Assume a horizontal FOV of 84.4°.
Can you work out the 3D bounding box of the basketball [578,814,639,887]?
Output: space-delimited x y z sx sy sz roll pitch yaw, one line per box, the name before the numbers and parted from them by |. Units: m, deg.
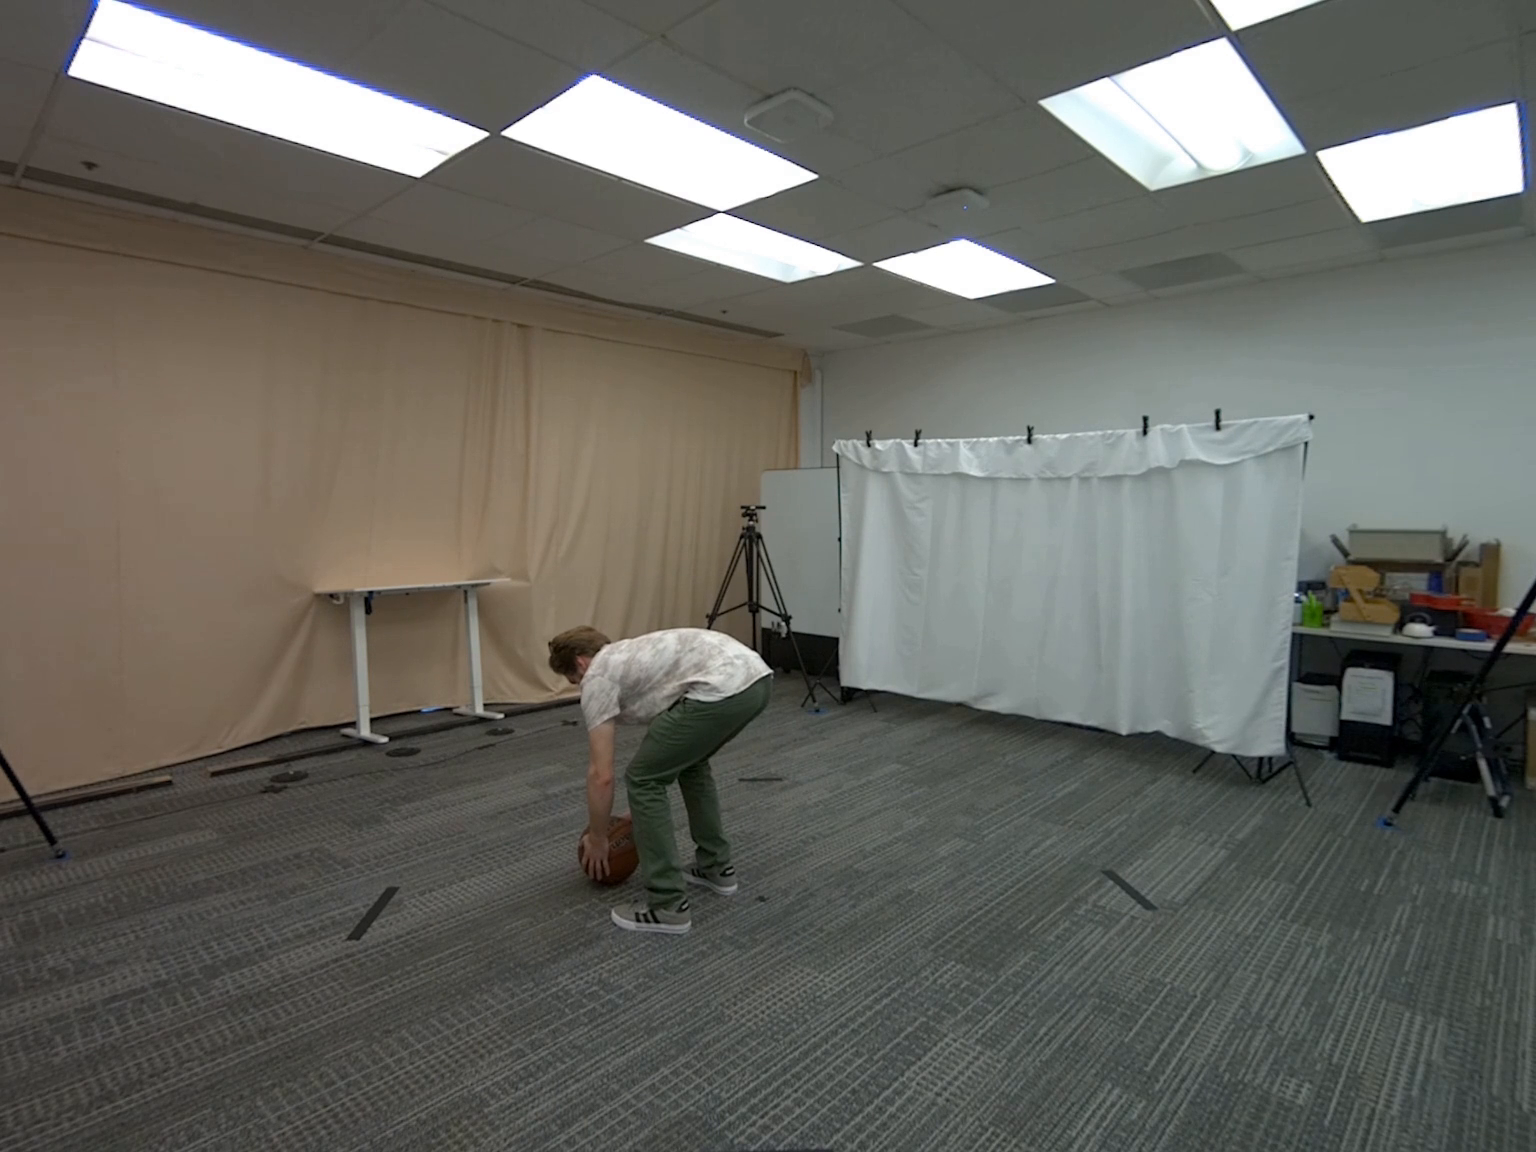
basketball | -0.587 1.021 3.139 0.236 0.235 0.237 0 4 -2
